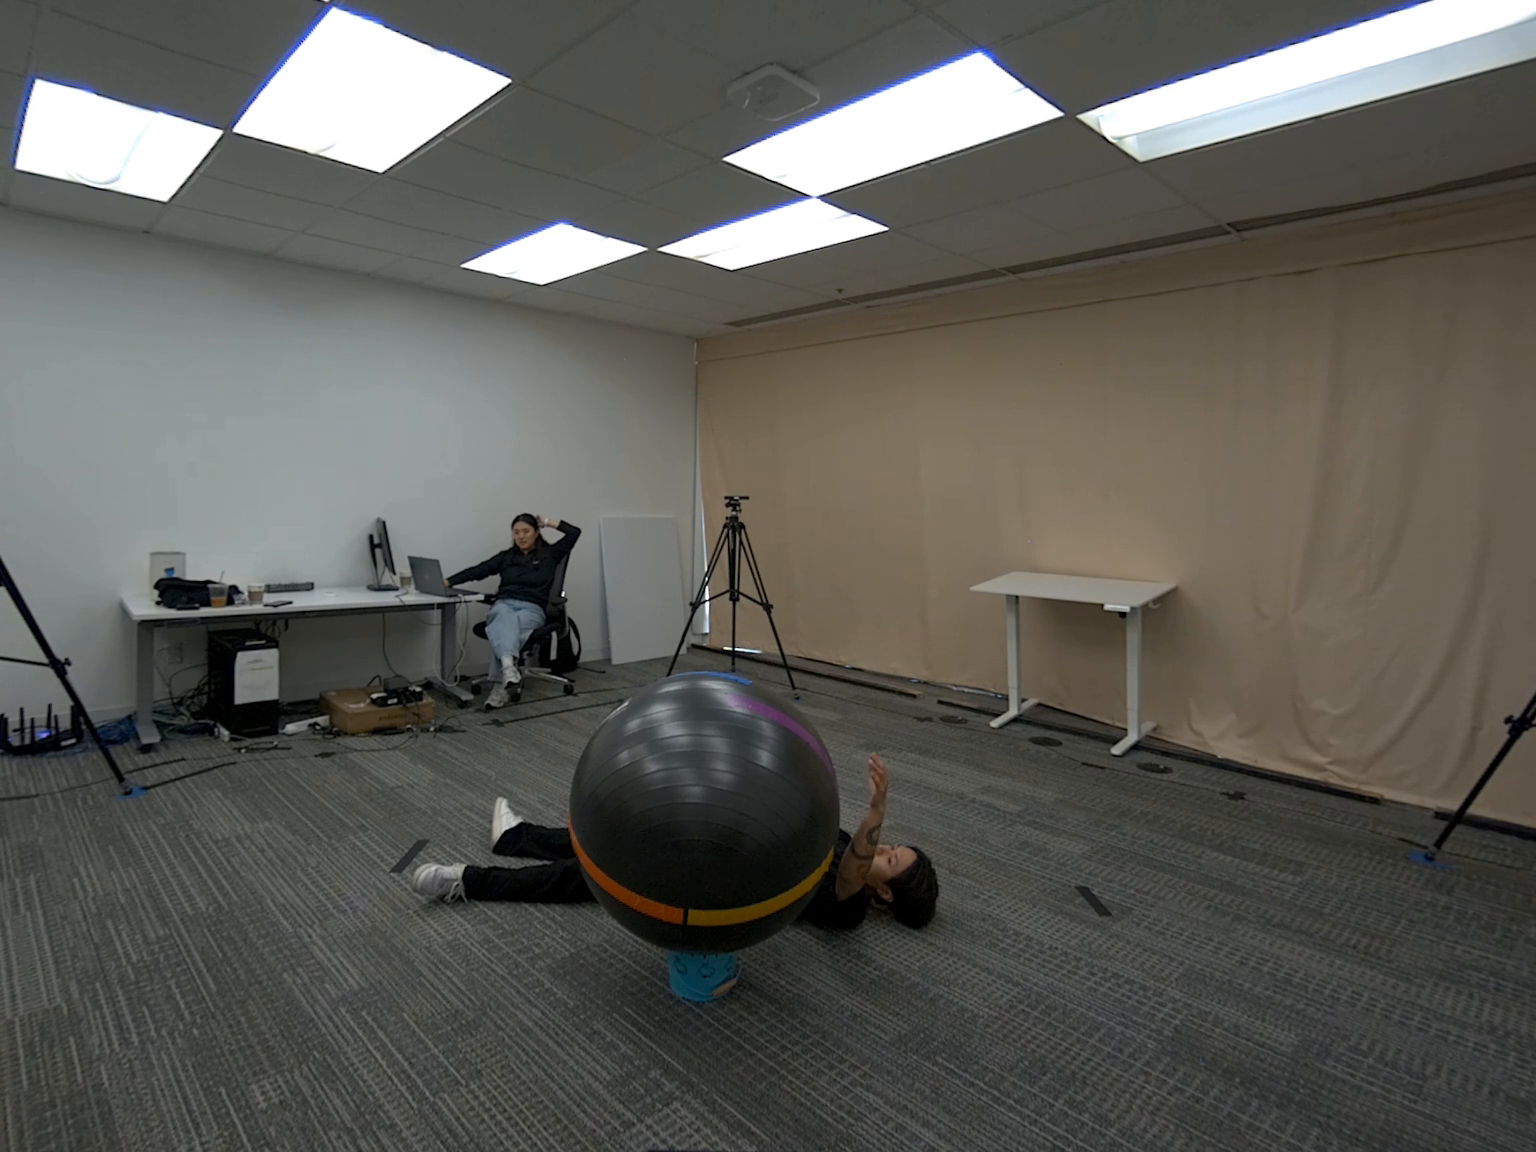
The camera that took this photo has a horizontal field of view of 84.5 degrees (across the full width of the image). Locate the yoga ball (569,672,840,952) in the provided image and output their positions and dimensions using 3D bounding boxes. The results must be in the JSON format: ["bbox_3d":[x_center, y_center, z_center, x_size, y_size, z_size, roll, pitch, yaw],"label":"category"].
[{"bbox_3d":[-0.185,0.661,2.389,0.757,0.756,0.761,1,4,-1],"label":"yoga ball"}]
